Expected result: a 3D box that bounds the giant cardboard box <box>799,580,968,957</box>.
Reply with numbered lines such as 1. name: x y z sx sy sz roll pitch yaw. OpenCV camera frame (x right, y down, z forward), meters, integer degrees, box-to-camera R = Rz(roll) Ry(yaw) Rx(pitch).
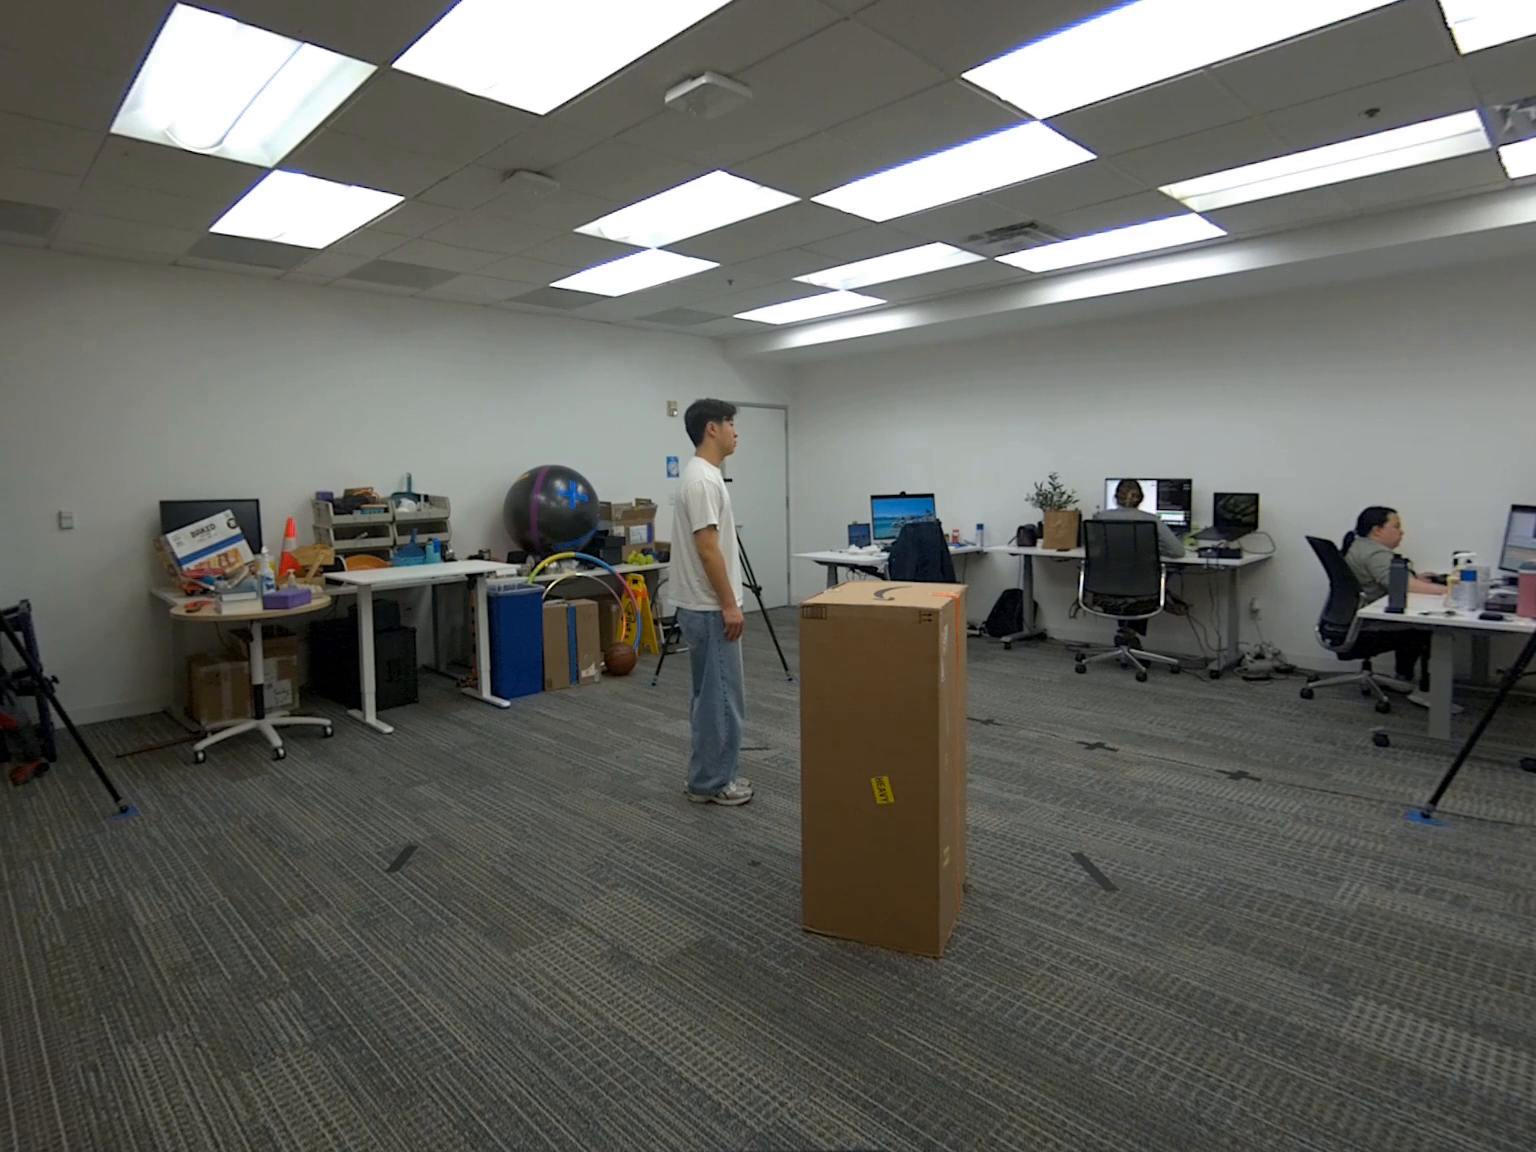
1. giant cardboard box: 0.401 0.564 2.782 0.435 1.022 0.567 1 4 23
